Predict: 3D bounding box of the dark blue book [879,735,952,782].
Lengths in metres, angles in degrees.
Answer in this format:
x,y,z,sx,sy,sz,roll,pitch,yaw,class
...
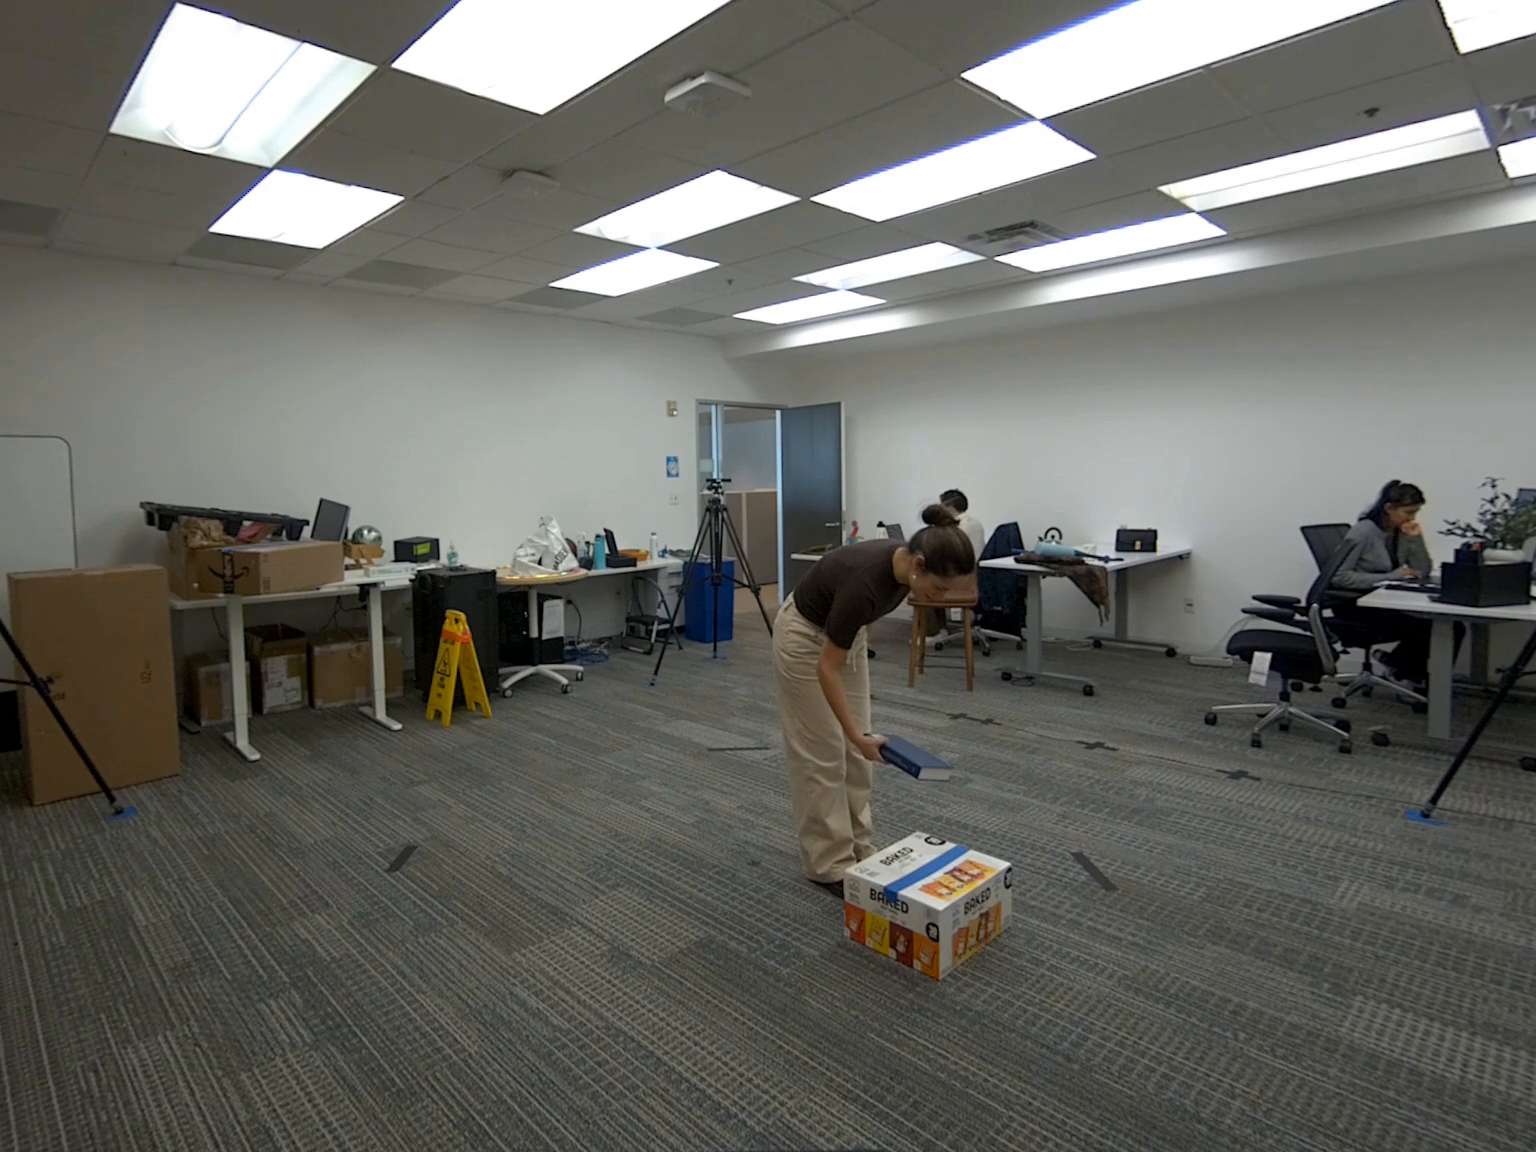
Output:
x,y,z,sx,sy,sz,roll,pitch,yaw,class
0.434,0.565,2.663,0.158,0.045,0.254,10,5,-44,dark blue book
